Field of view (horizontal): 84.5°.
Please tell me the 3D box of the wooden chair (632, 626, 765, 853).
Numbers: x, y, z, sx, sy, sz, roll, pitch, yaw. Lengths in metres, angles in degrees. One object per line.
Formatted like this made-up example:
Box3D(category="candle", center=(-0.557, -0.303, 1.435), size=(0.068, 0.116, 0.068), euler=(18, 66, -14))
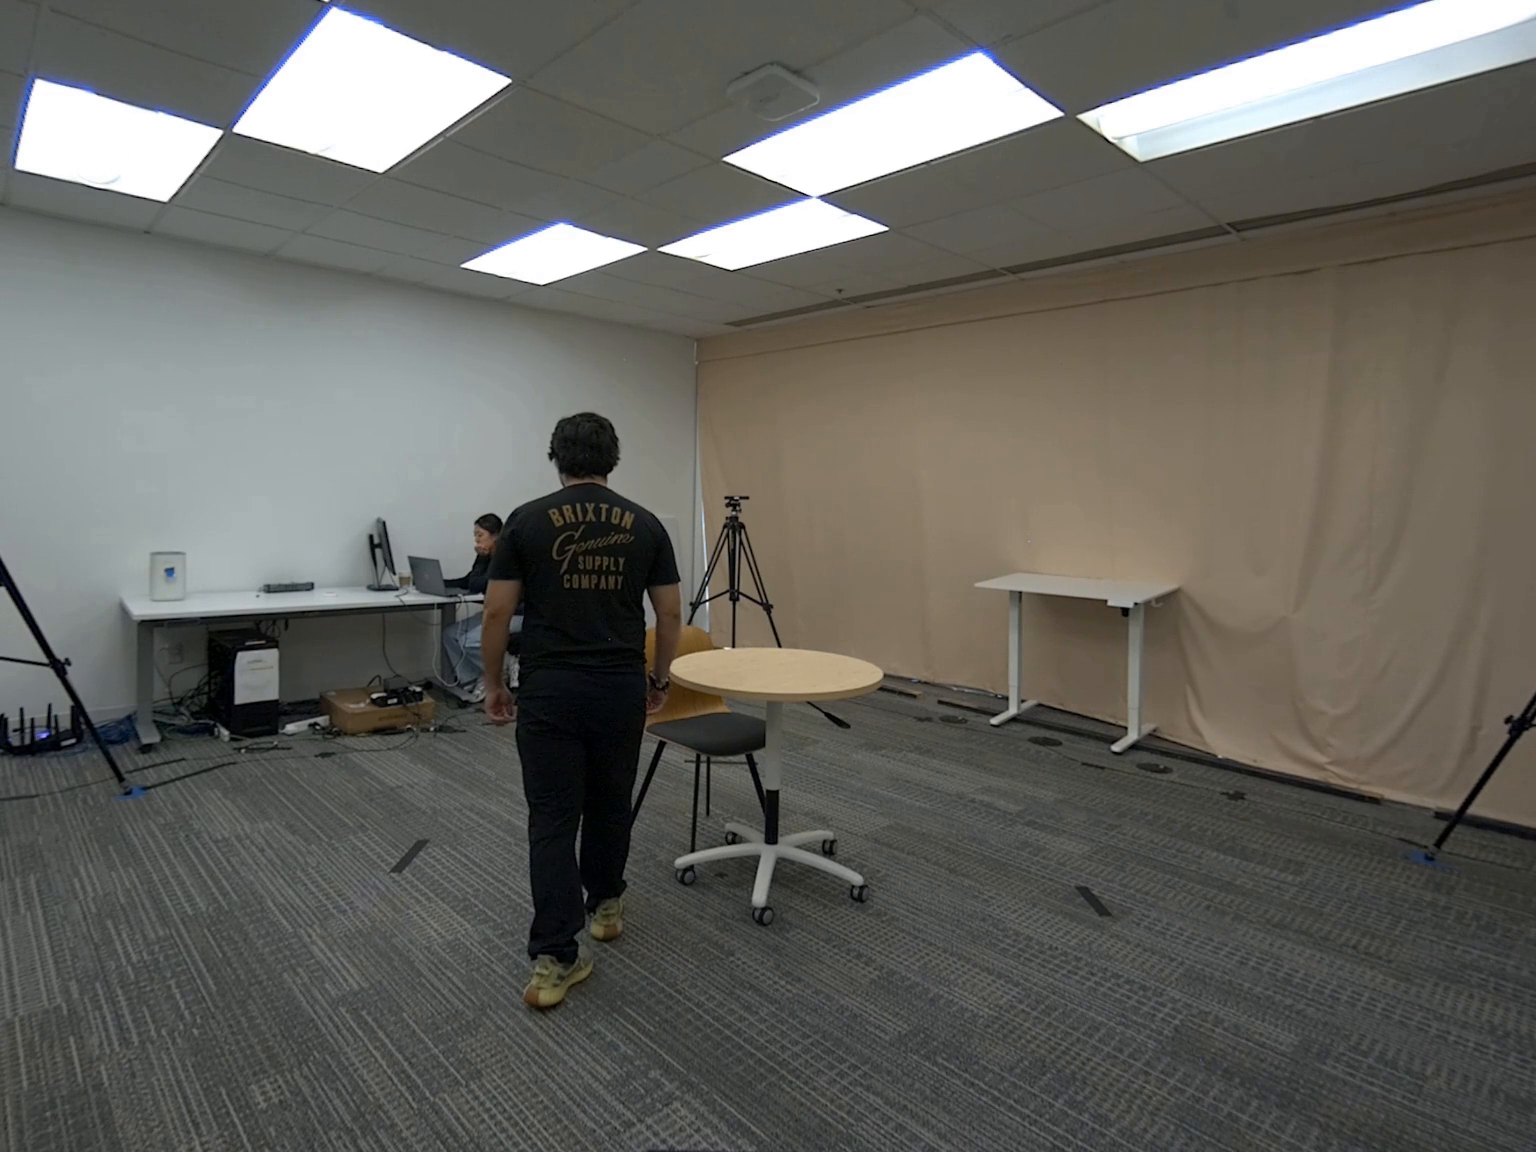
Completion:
Box3D(category="wooden chair", center=(-0.256, 0.648, 3.344), size=(0.467, 0.878, 0.535), euler=(0, -1, -41))
